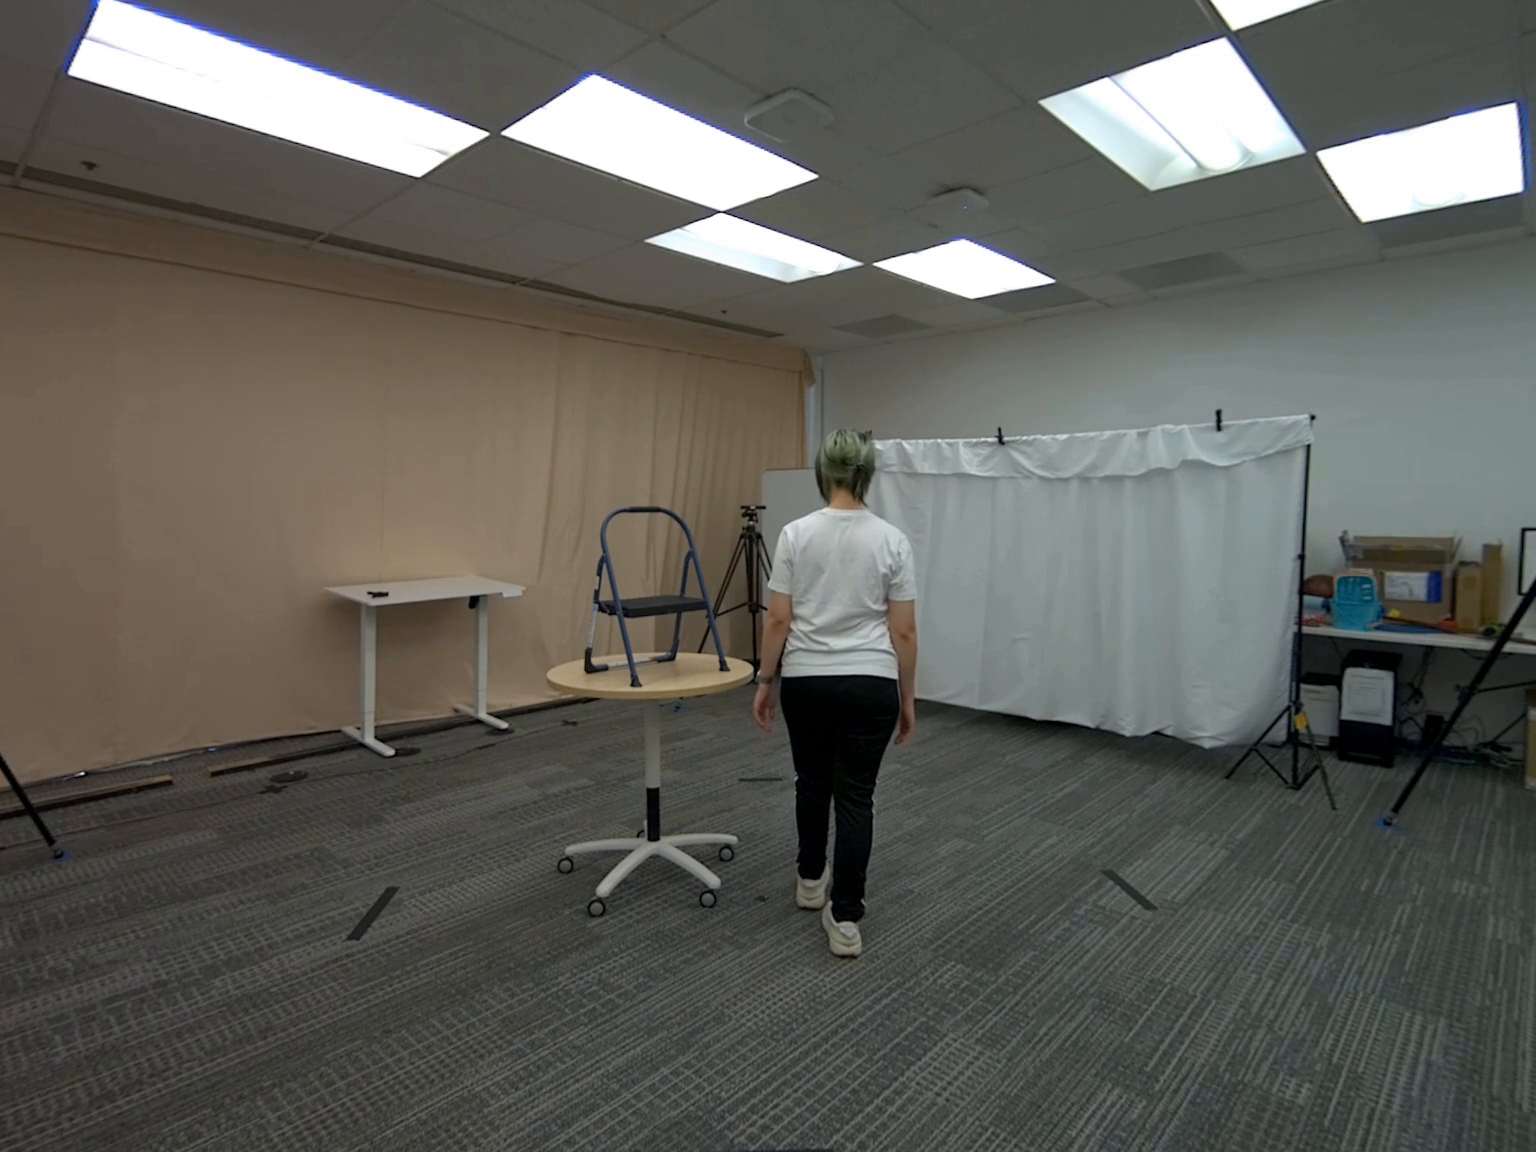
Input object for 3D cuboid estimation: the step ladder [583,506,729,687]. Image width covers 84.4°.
[{"bbox_3d":[-0.416,0.053,3.075,0.417,0.605,0.361,-3,4,-42],"label":"step ladder"}]
